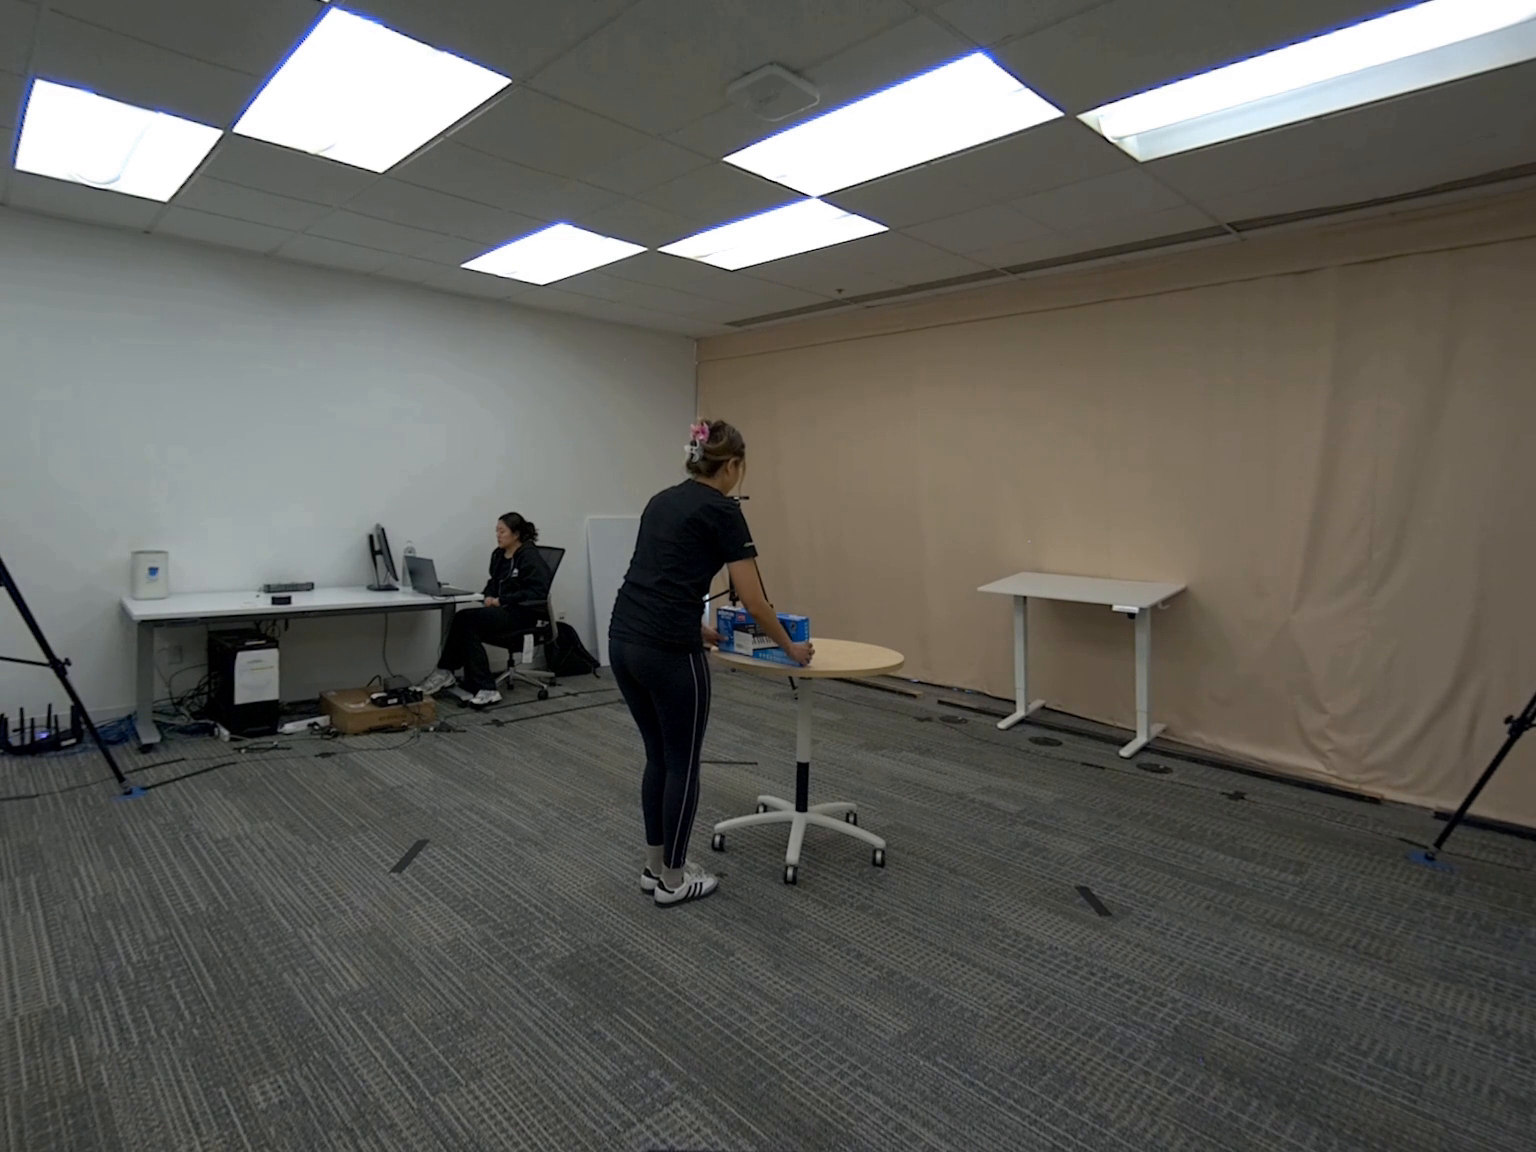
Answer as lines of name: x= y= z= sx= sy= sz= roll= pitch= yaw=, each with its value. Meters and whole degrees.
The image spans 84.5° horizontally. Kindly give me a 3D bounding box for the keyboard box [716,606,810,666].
keyboard box: x=-0.031 y=0.226 z=3.192 sx=0.058 sy=0.175 sz=0.448 roll=-8 pitch=9 yaw=-44
